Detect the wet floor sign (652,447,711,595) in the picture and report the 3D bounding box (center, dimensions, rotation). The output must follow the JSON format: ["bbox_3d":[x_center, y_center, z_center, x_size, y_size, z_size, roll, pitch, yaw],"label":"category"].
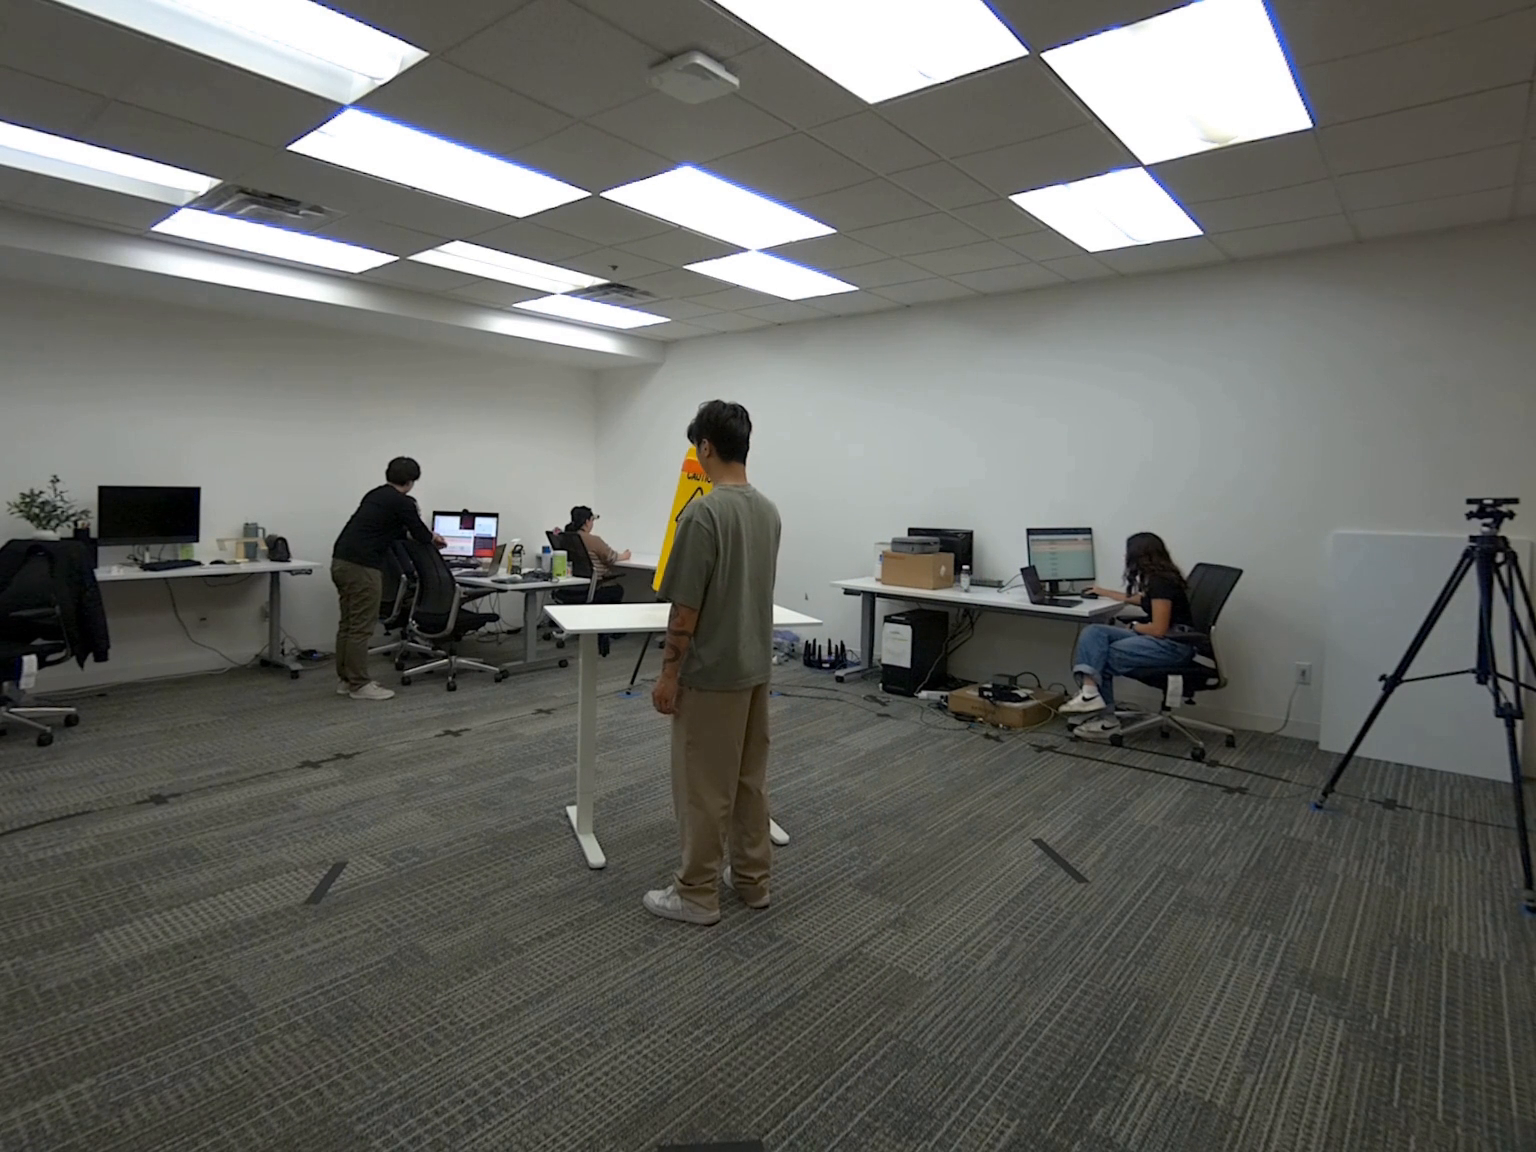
[{"bbox_3d":[-0.264,-0.251,3.426,0.292,0.641,0.281,14,11,36],"label":"wet floor sign"}]
